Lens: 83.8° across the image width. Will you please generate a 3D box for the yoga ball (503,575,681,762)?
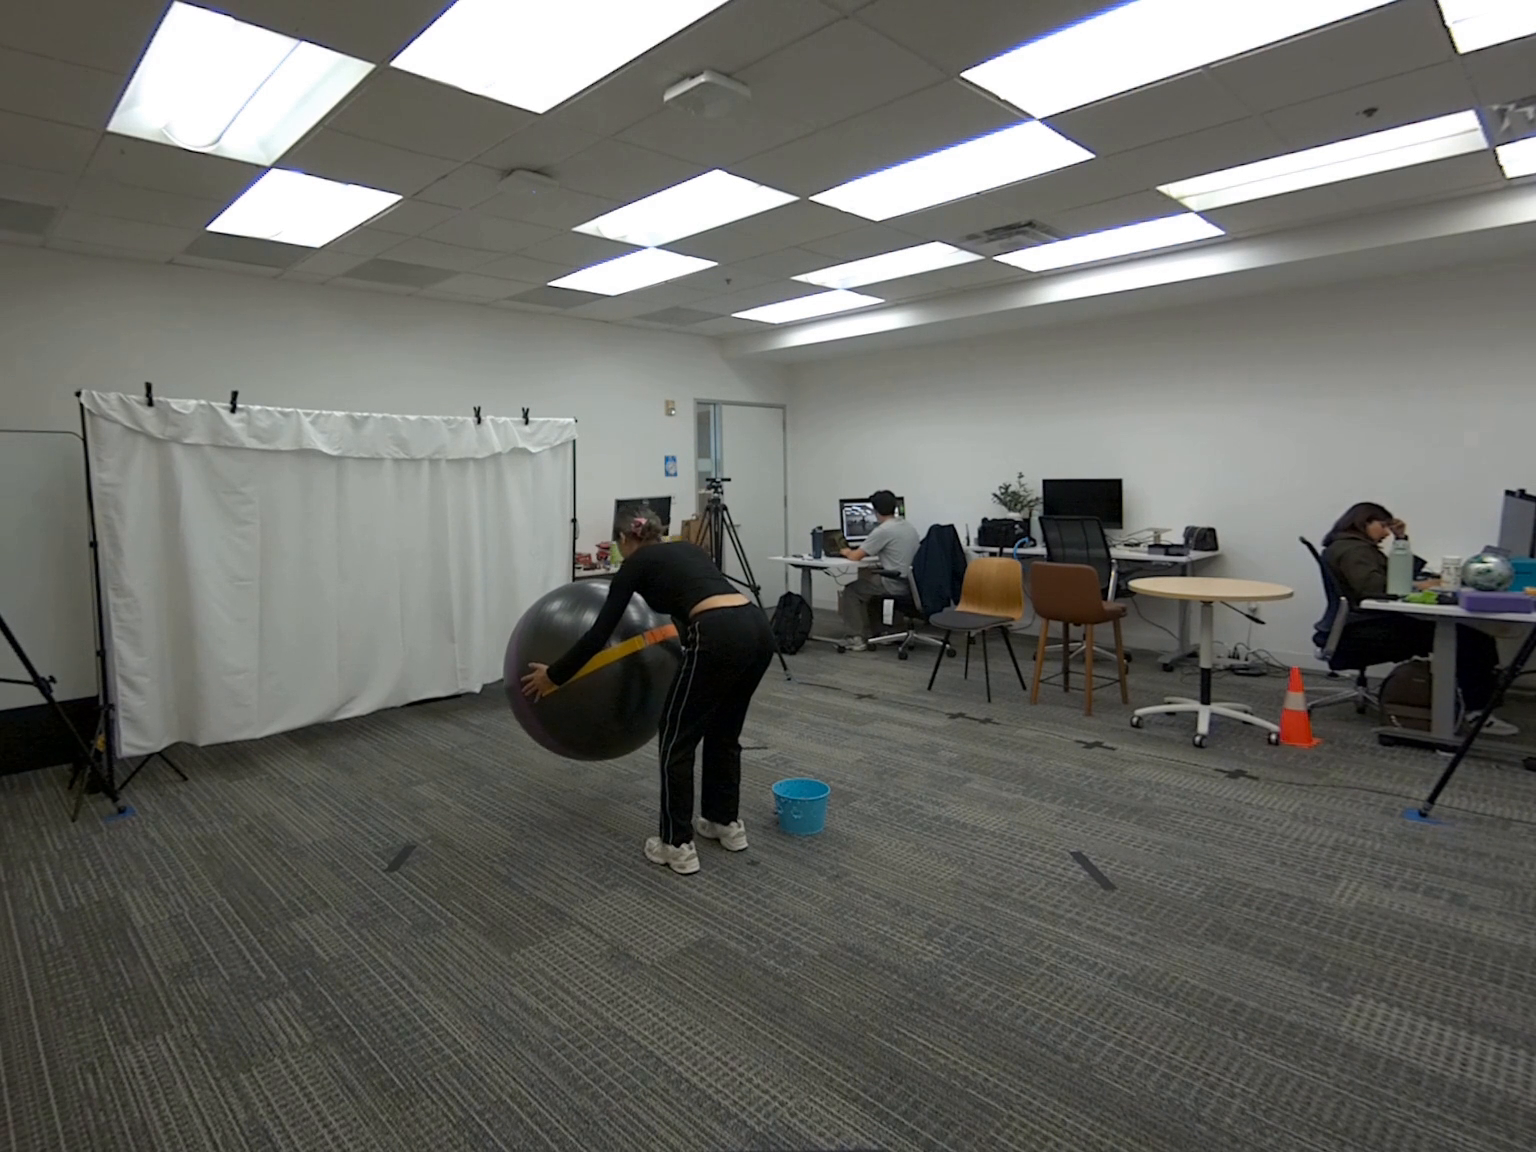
[{"bbox_3d":[-0.736,0.395,3.626,0.757,0.755,0.762,-1,5,-2],"label":"yoga ball"}]
